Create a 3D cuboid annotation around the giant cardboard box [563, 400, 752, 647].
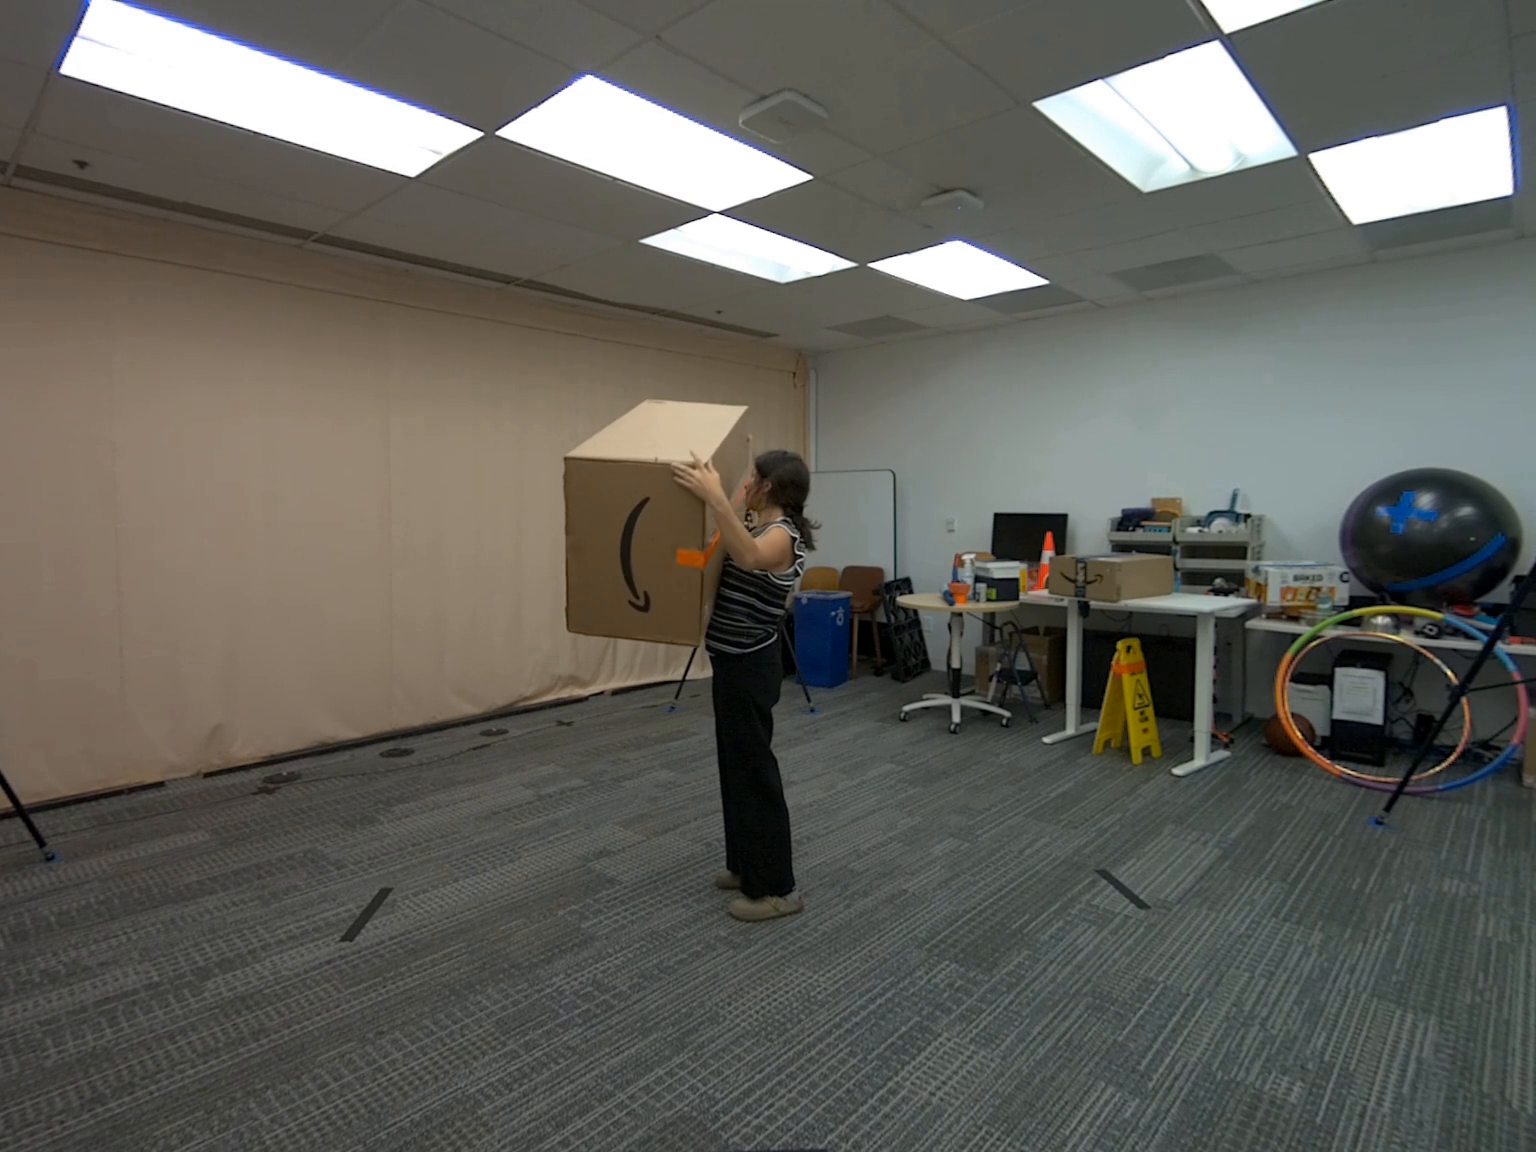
[{"bbox_3d":[-0.343,-0.255,2.985,0.429,0.571,1.029,5,21,5],"label":"giant cardboard box"}]
